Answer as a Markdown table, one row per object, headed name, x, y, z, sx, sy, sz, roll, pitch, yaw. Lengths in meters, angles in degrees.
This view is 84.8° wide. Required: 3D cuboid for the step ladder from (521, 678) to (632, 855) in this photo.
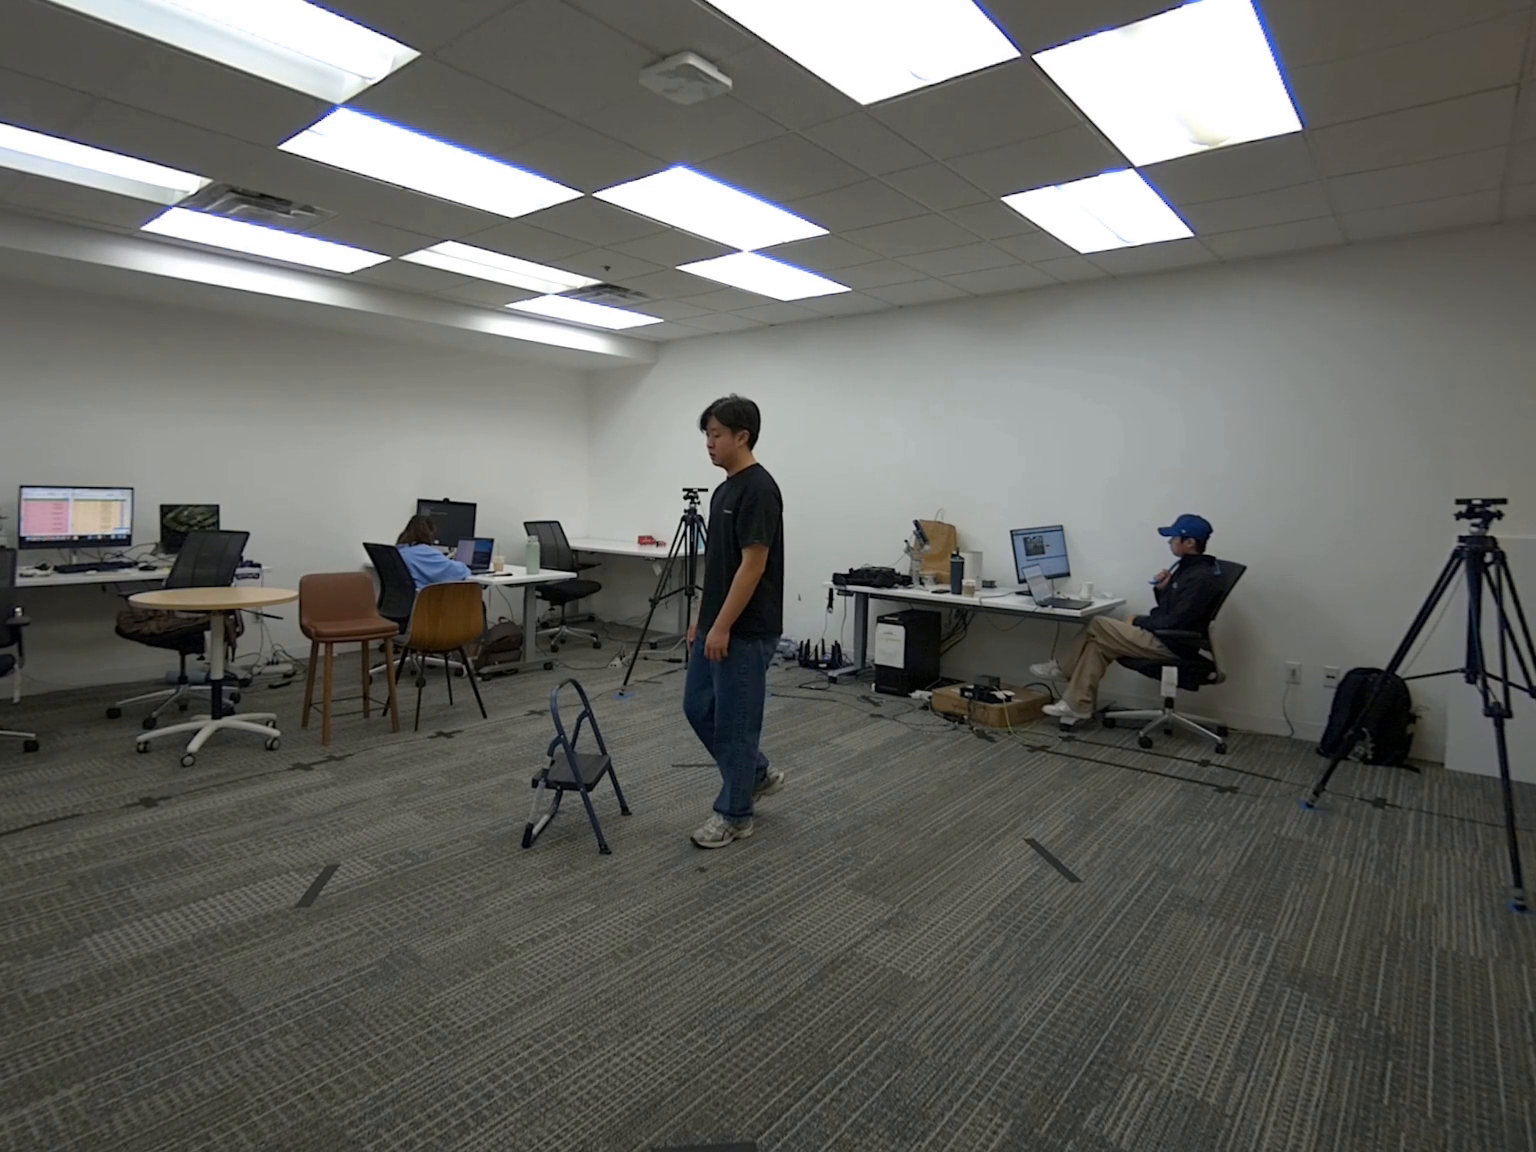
| name | x | y | z | sx | sy | sz | roll | pitch | yaw |
| --- | --- | --- | --- | --- | --- | --- | --- | --- | --- |
| step ladder | -0.775 | 0.729 | 3.439 | 0.351 | 0.605 | 0.430 | 1 | 3 | 3 |
